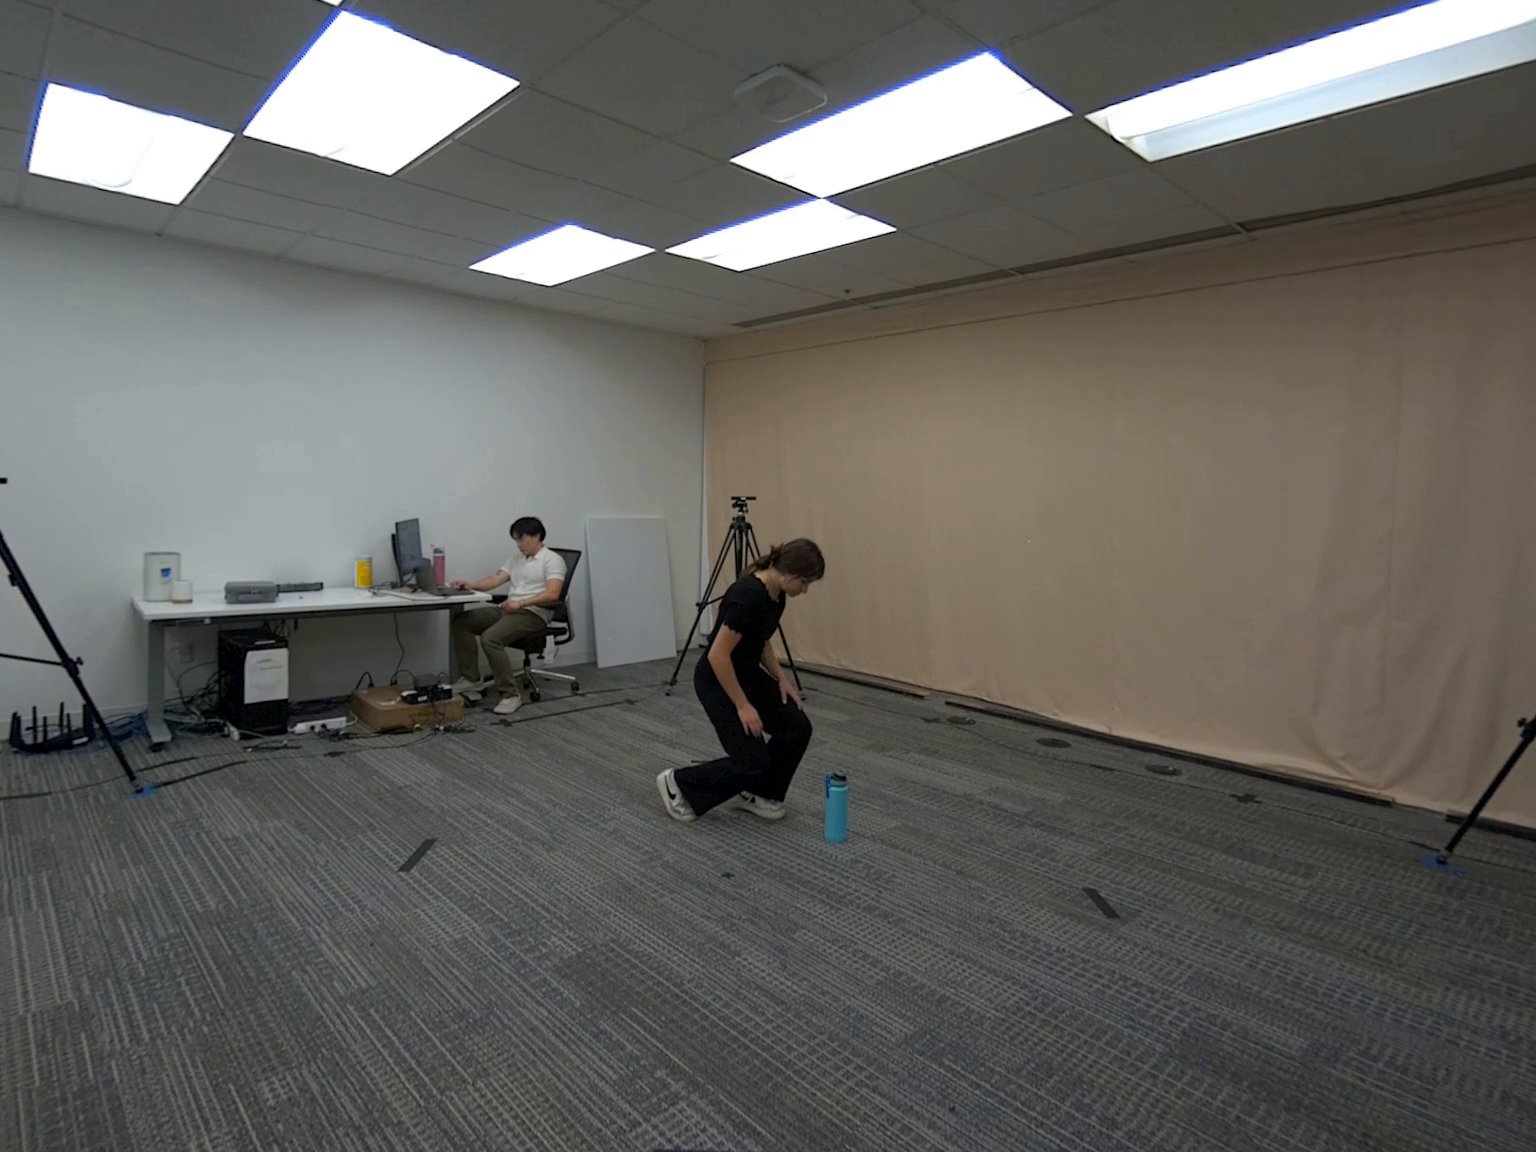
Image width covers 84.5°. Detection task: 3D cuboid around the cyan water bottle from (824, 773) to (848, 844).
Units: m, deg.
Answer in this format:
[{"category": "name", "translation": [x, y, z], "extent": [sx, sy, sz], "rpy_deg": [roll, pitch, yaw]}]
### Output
[{"category": "cyan water bottle", "translation": [0.272, 0.946, 3.463], "extent": [0.092, 0.283, 0.092], "rpy_deg": [2, 2, -1]}]
